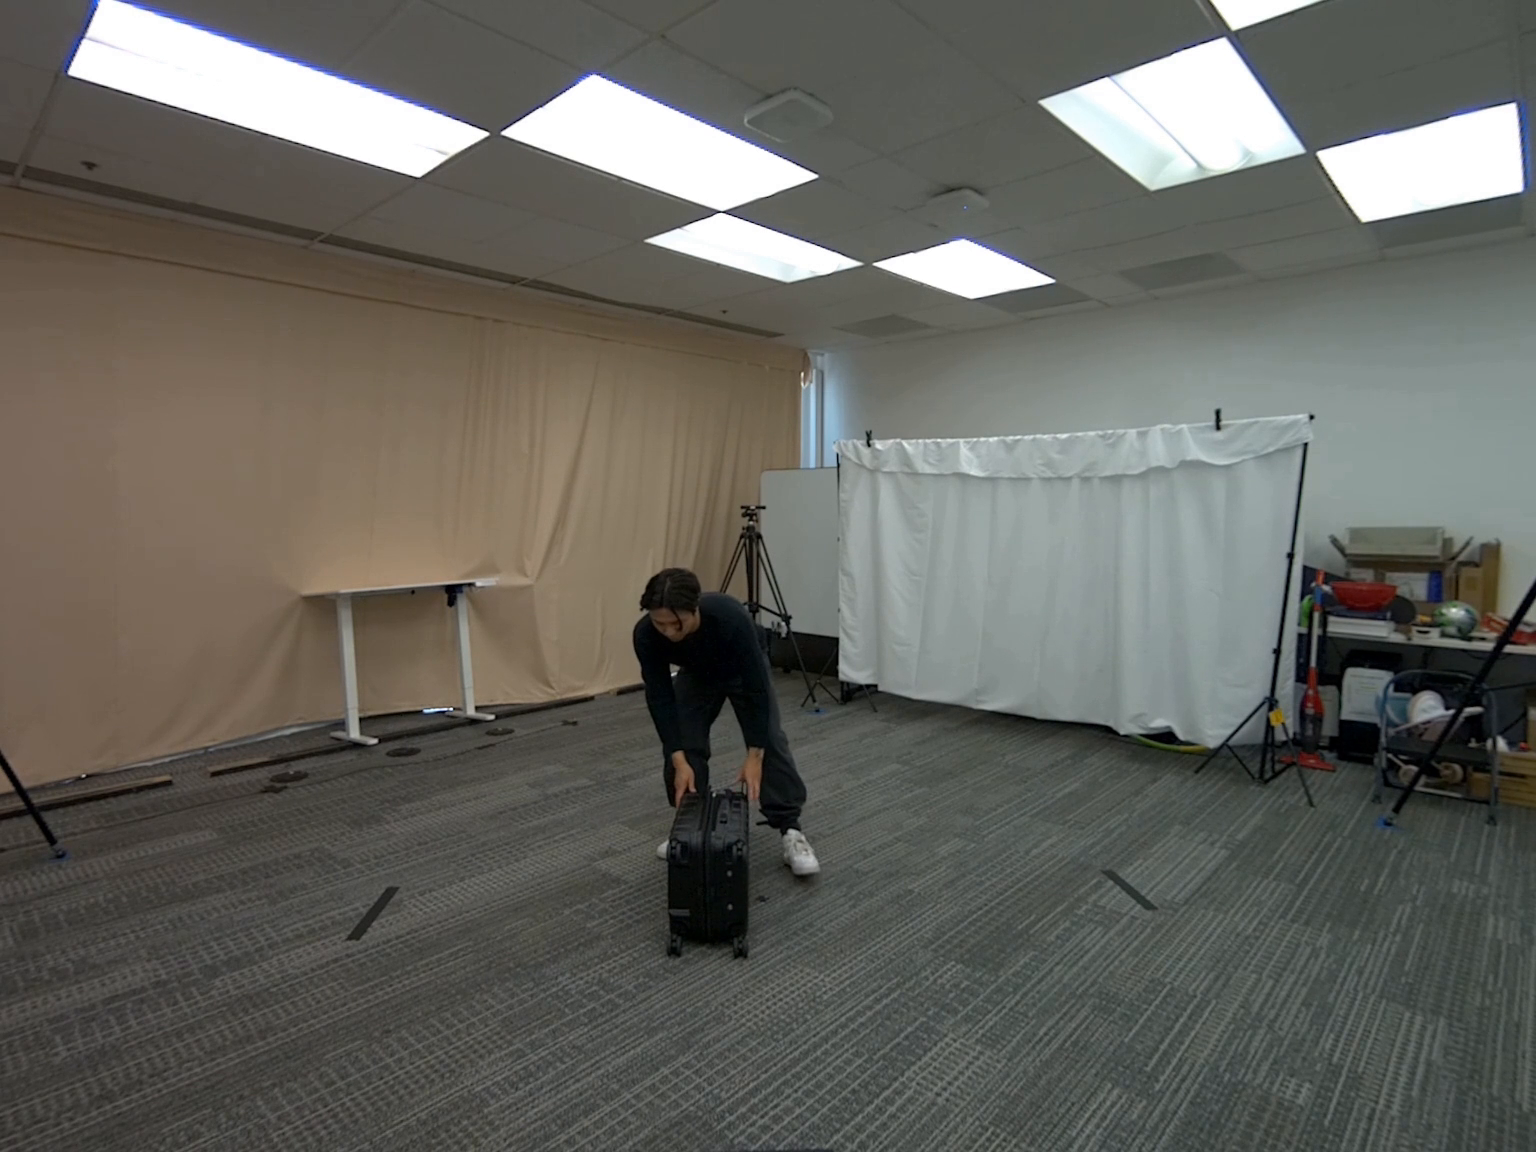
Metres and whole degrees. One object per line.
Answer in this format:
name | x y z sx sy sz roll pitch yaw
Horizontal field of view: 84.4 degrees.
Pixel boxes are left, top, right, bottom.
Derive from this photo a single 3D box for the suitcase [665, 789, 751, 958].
suitcase | -0.187 0.953 3.056 0.257 0.383 0.981 1 6 -1
